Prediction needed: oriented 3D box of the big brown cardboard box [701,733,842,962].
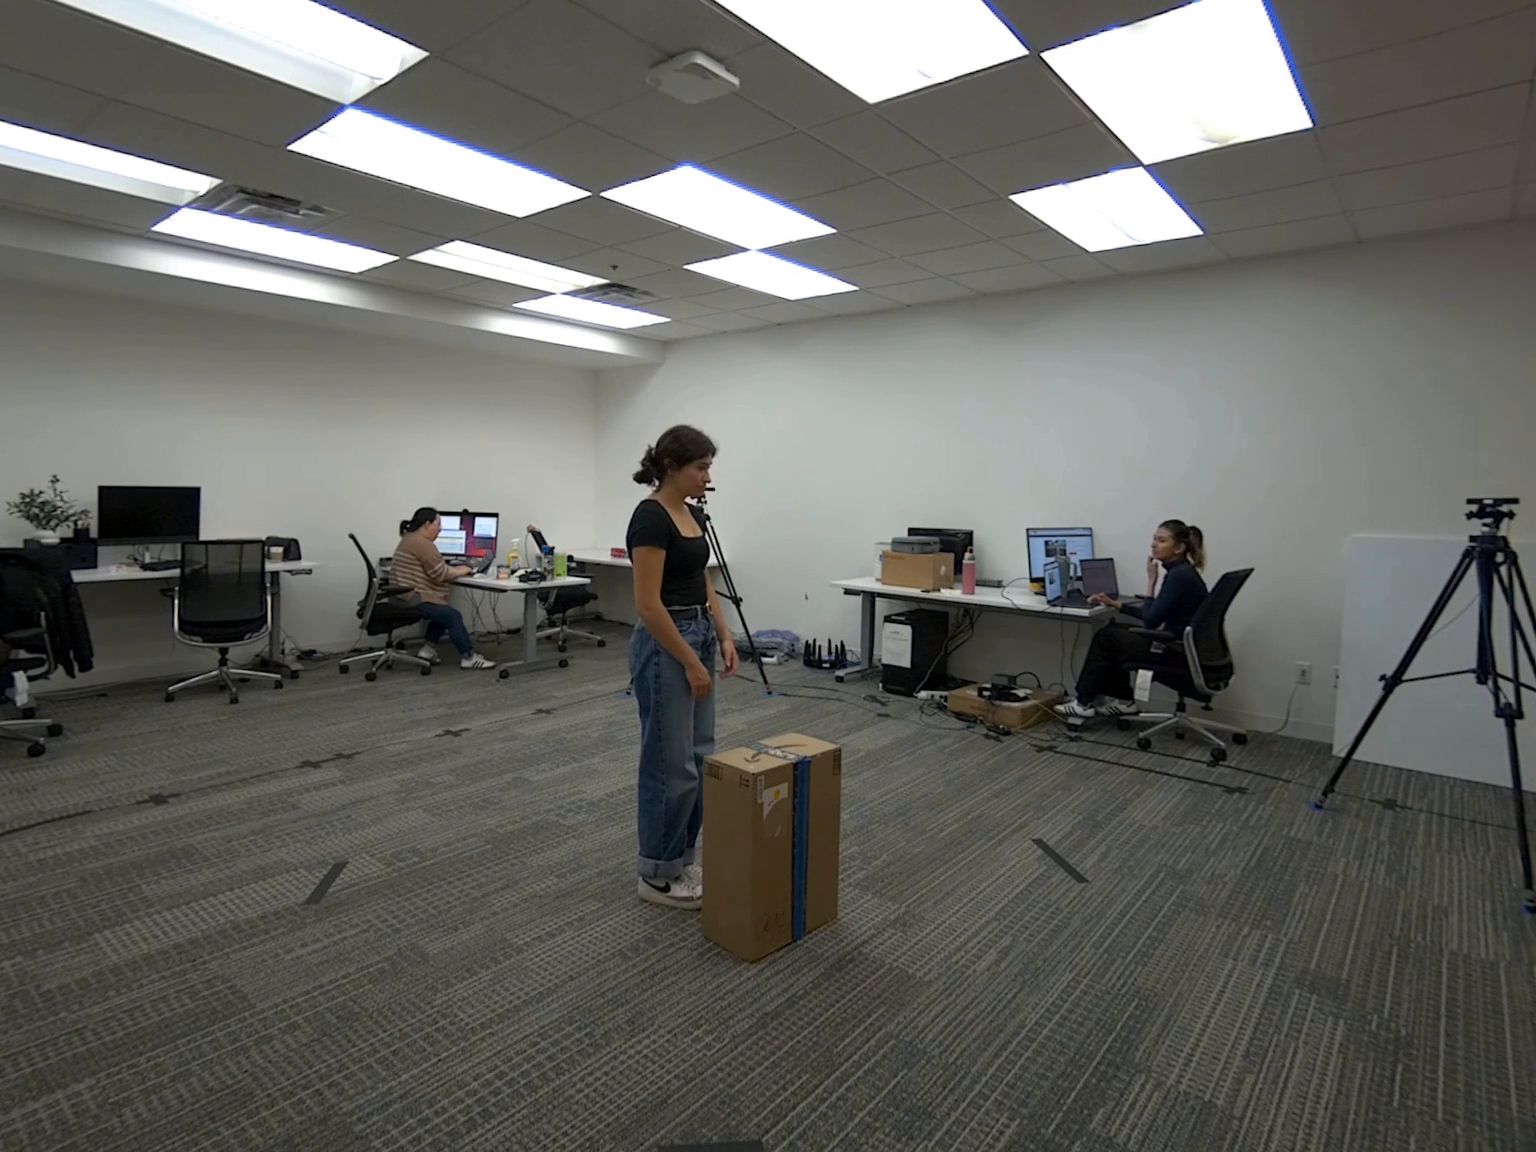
[{"bbox_3d":[0.010,0.823,2.684,0.241,0.587,0.405,5,6,44],"label":"big brown cardboard box"}]
